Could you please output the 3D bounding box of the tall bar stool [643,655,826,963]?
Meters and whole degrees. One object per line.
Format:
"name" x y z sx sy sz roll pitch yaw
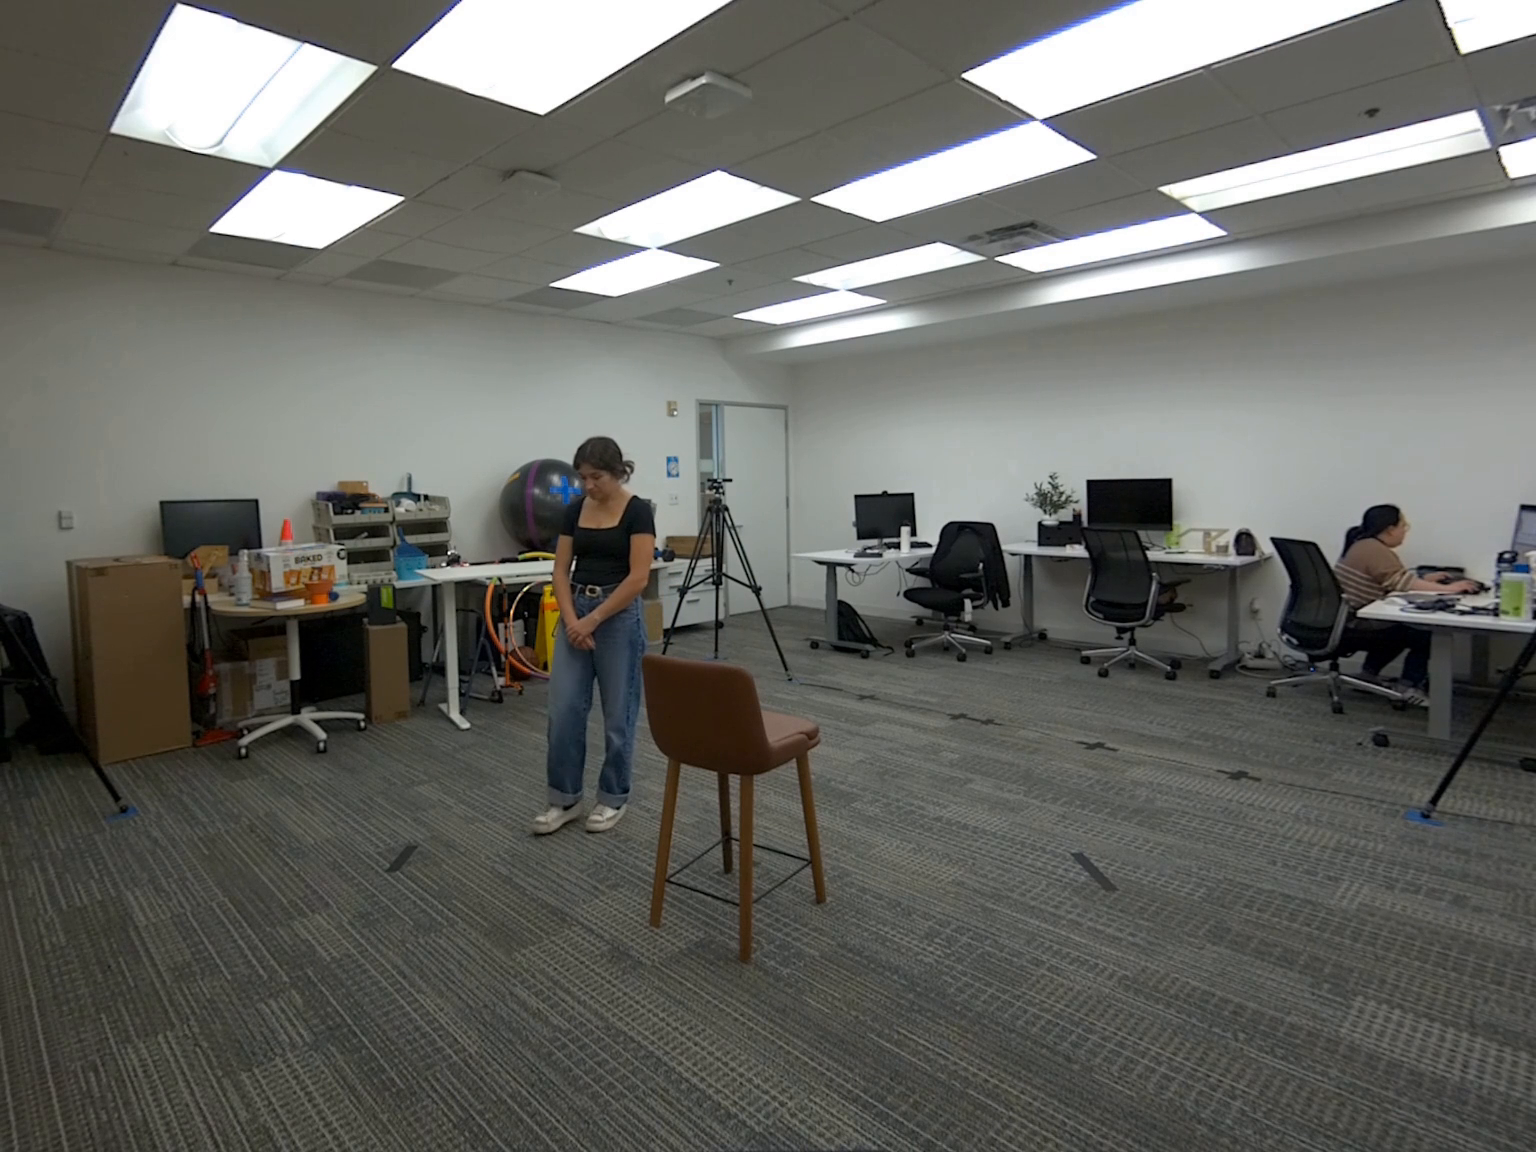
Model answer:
"tall bar stool" -0.105 0.656 2.724 0.470 0.885 0.457 2 7 36
